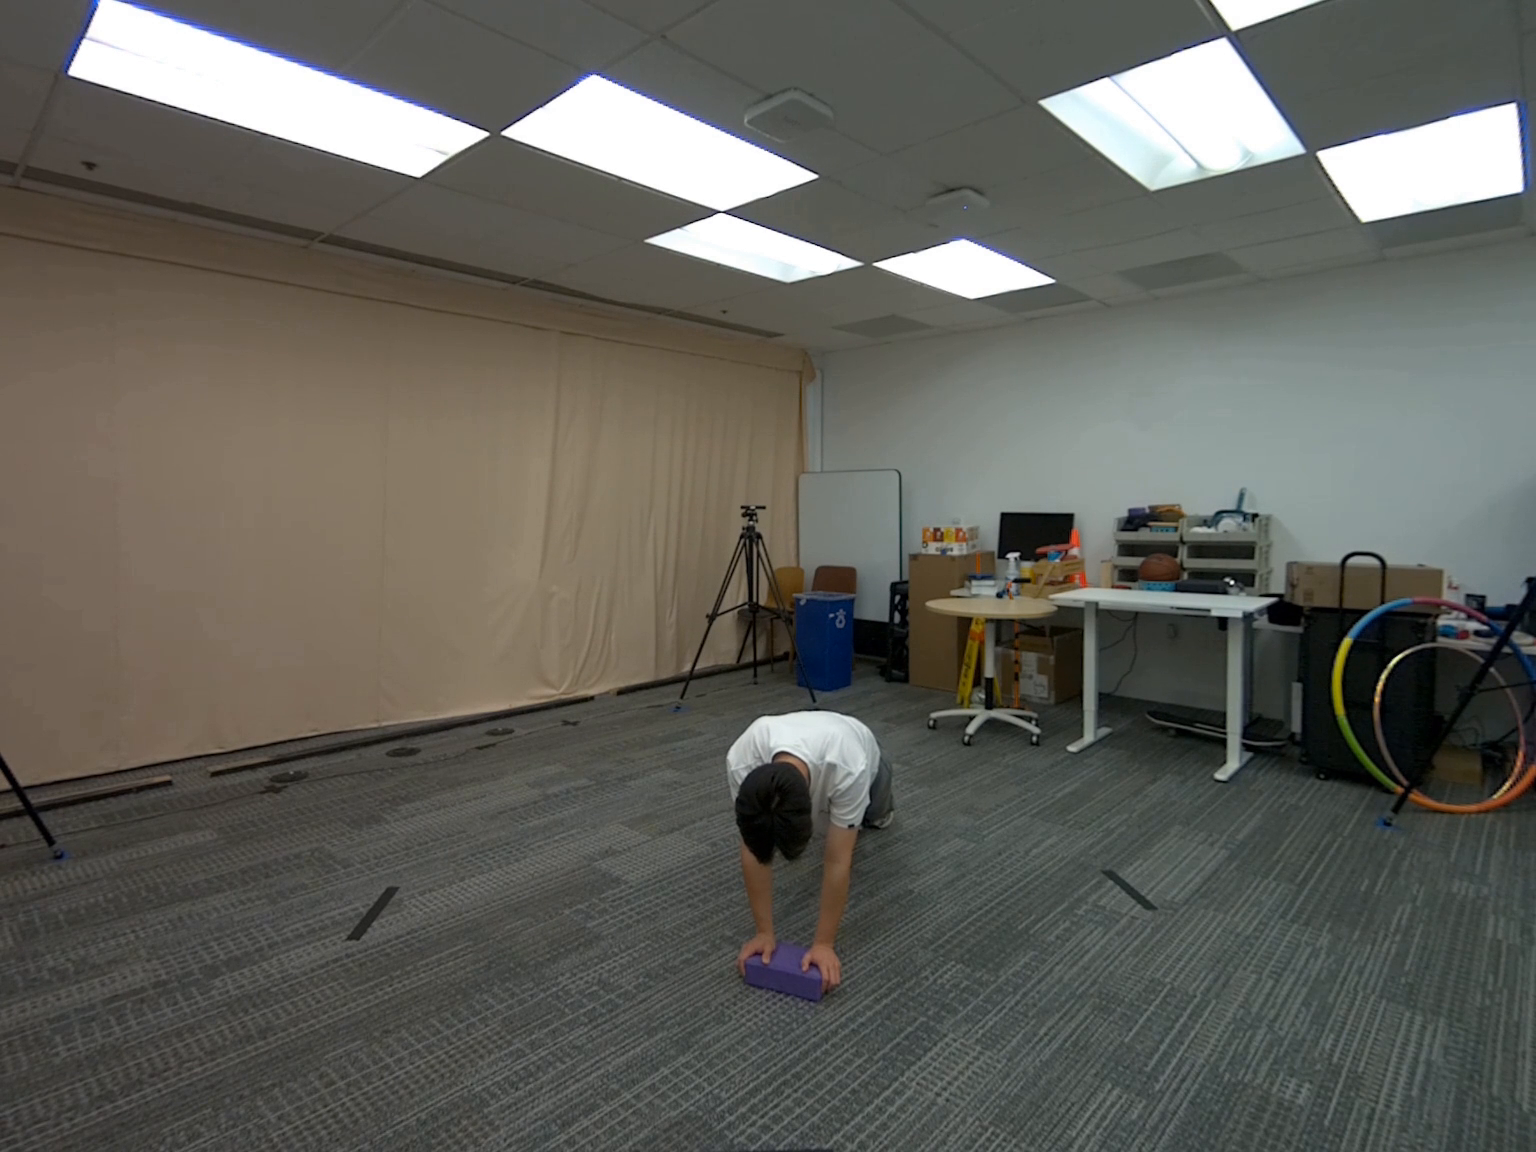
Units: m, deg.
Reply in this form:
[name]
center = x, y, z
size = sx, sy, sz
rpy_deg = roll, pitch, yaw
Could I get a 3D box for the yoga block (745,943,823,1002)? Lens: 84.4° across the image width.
[yoga block]
center = 0.069, 1.155, 2.460
size = 0.235, 0.076, 0.145
rpy_deg = 3, 6, 26
